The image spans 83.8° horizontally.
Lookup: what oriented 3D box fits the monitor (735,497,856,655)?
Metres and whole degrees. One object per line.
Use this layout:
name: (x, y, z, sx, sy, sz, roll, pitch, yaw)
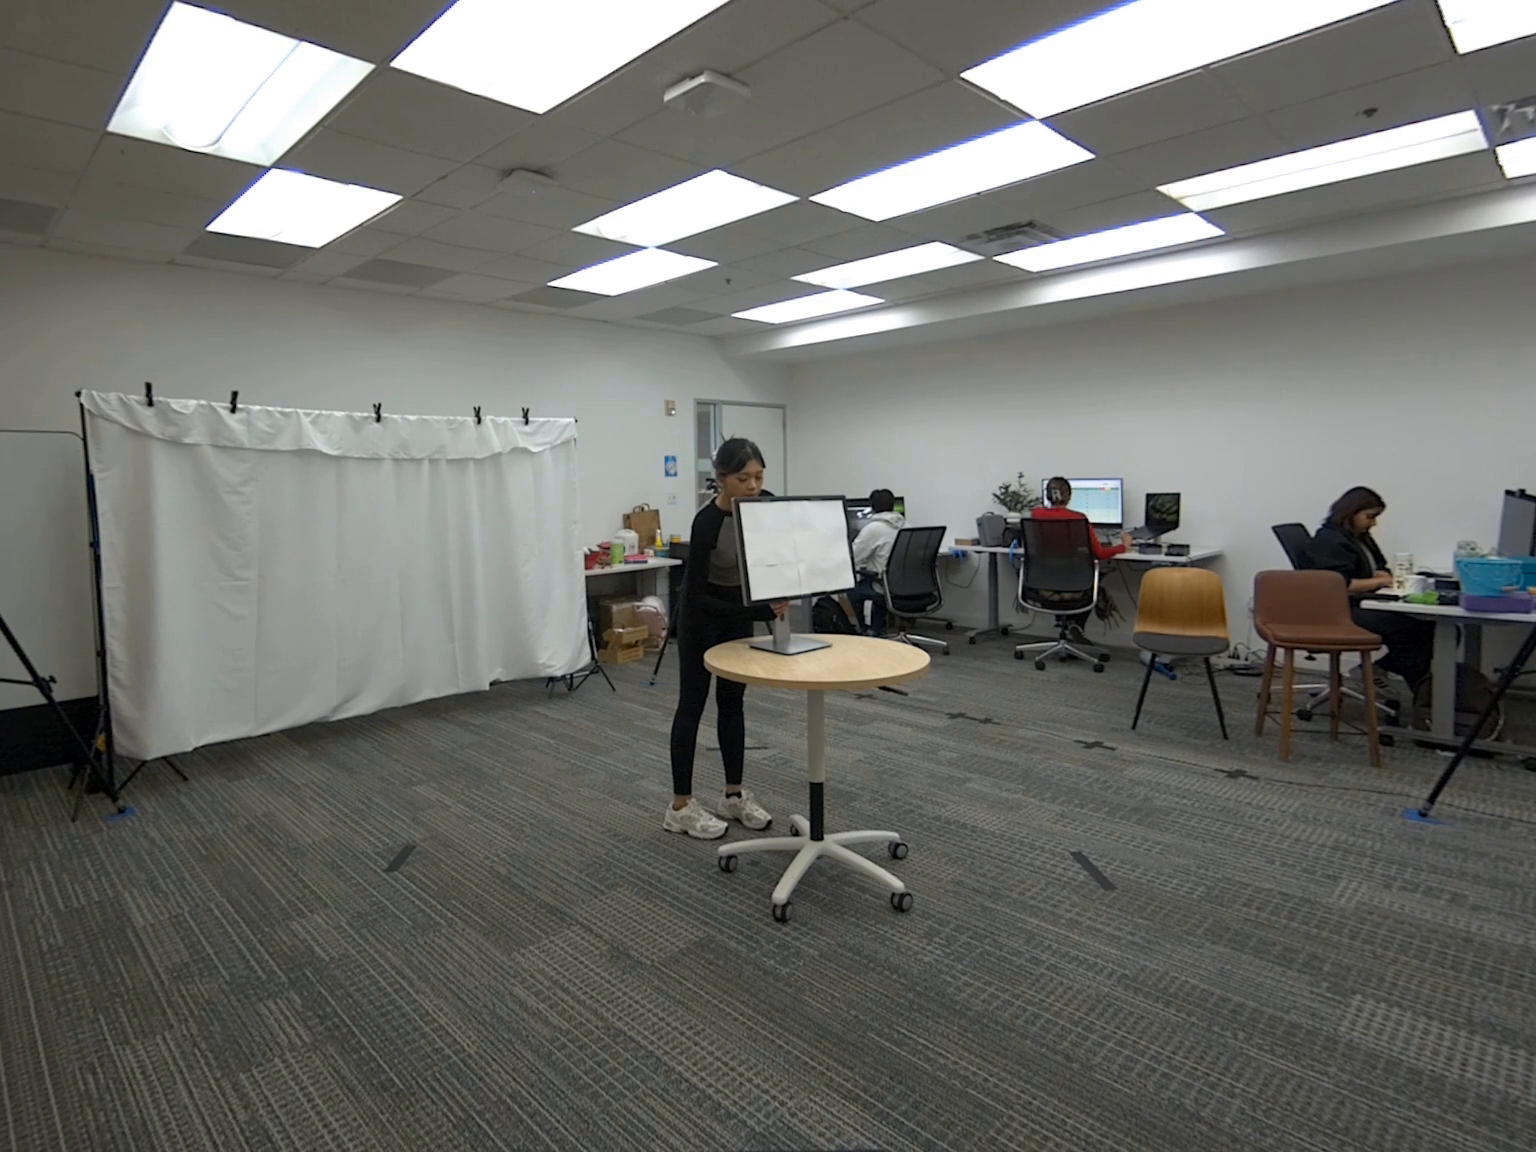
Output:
monitor: (0.081, -0.009, 3.049, 0.193, 0.520, 0.525, 5, 8, 44)
